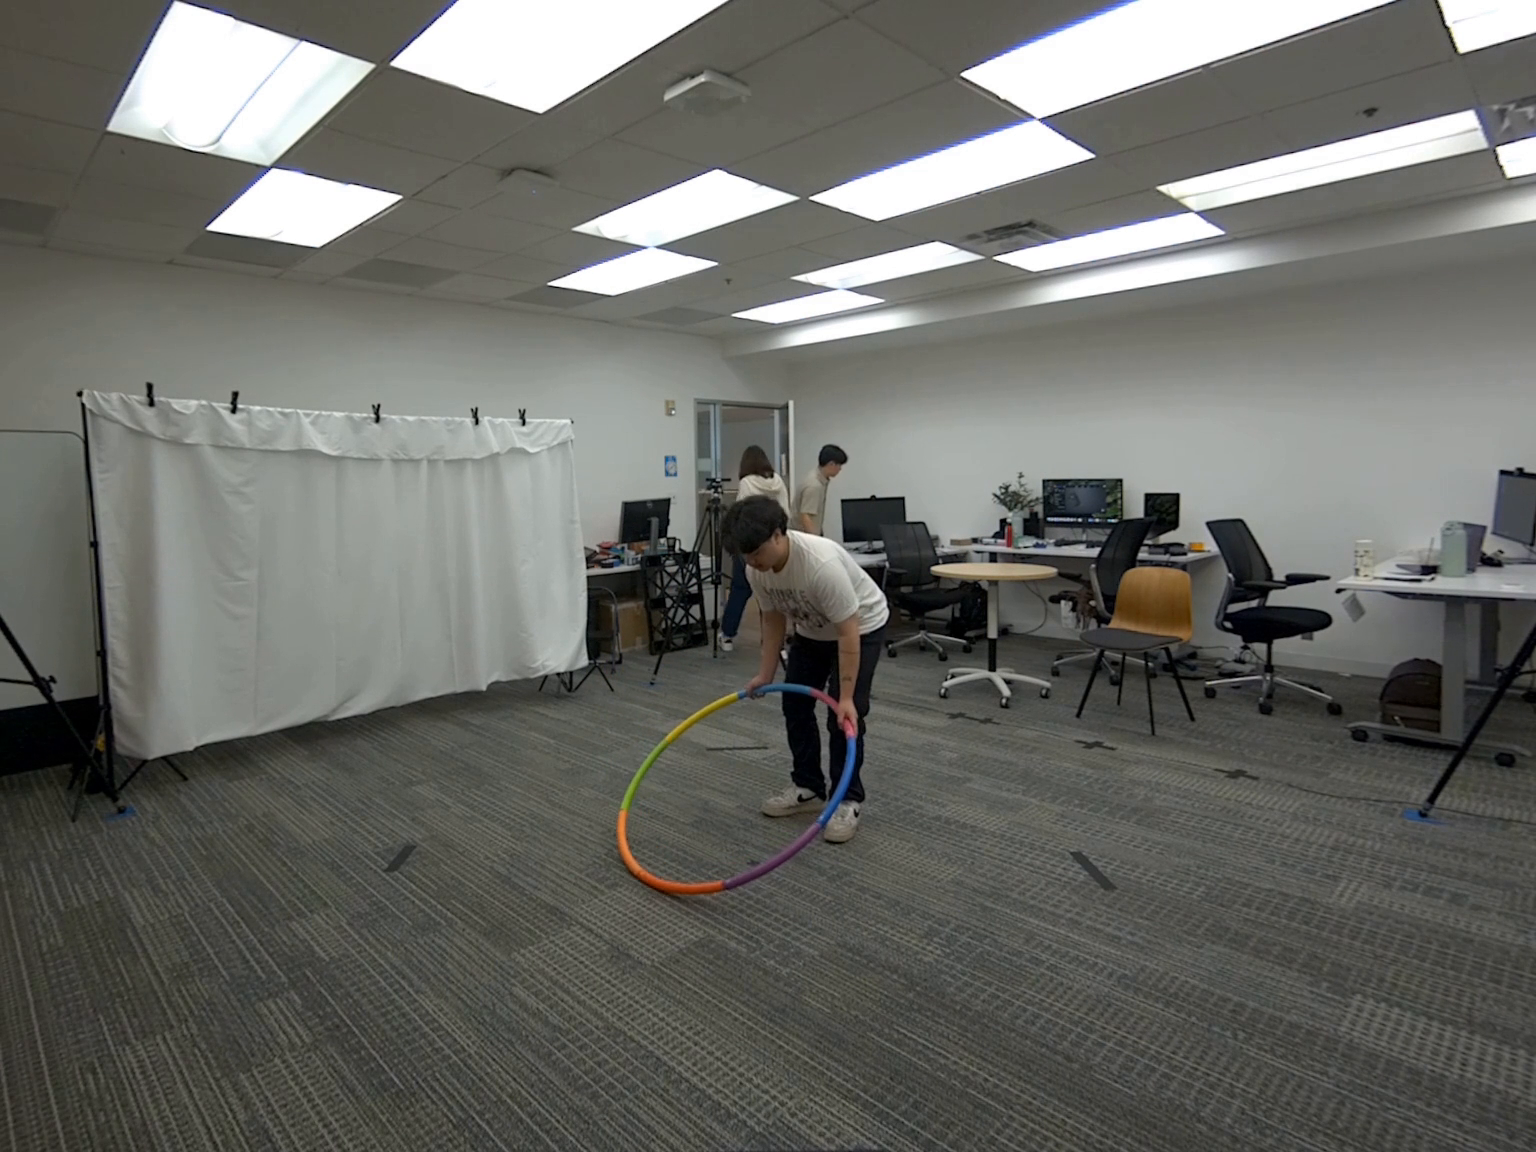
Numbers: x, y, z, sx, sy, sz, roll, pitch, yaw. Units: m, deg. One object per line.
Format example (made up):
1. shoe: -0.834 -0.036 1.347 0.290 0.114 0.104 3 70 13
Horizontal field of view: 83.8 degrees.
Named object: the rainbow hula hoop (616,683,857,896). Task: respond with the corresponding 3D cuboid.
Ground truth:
1. rainbow hula hoop: -0.139 0.755 3.189 0.991 0.050 1.008 -24 27 10
